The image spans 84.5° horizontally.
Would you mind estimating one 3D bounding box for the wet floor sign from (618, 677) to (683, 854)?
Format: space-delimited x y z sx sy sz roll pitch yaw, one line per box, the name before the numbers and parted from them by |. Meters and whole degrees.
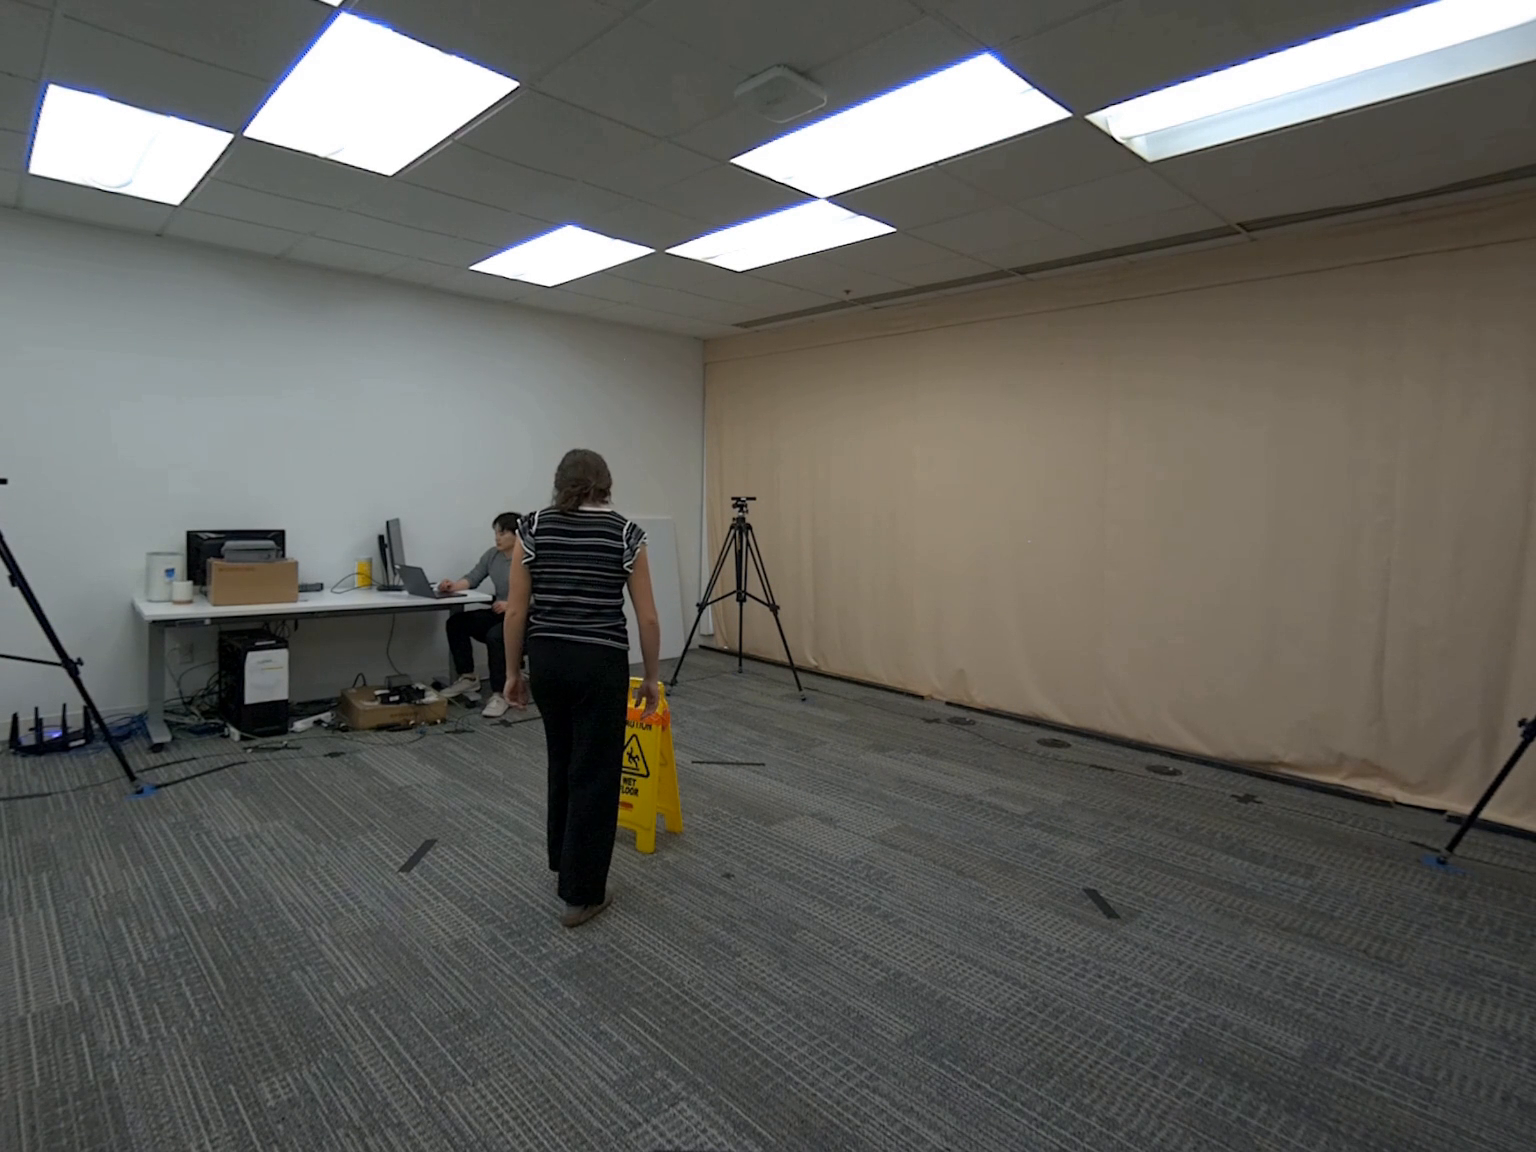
wet floor sign | -0.528 0.746 3.440 0.288 0.645 0.285 4 3 24
